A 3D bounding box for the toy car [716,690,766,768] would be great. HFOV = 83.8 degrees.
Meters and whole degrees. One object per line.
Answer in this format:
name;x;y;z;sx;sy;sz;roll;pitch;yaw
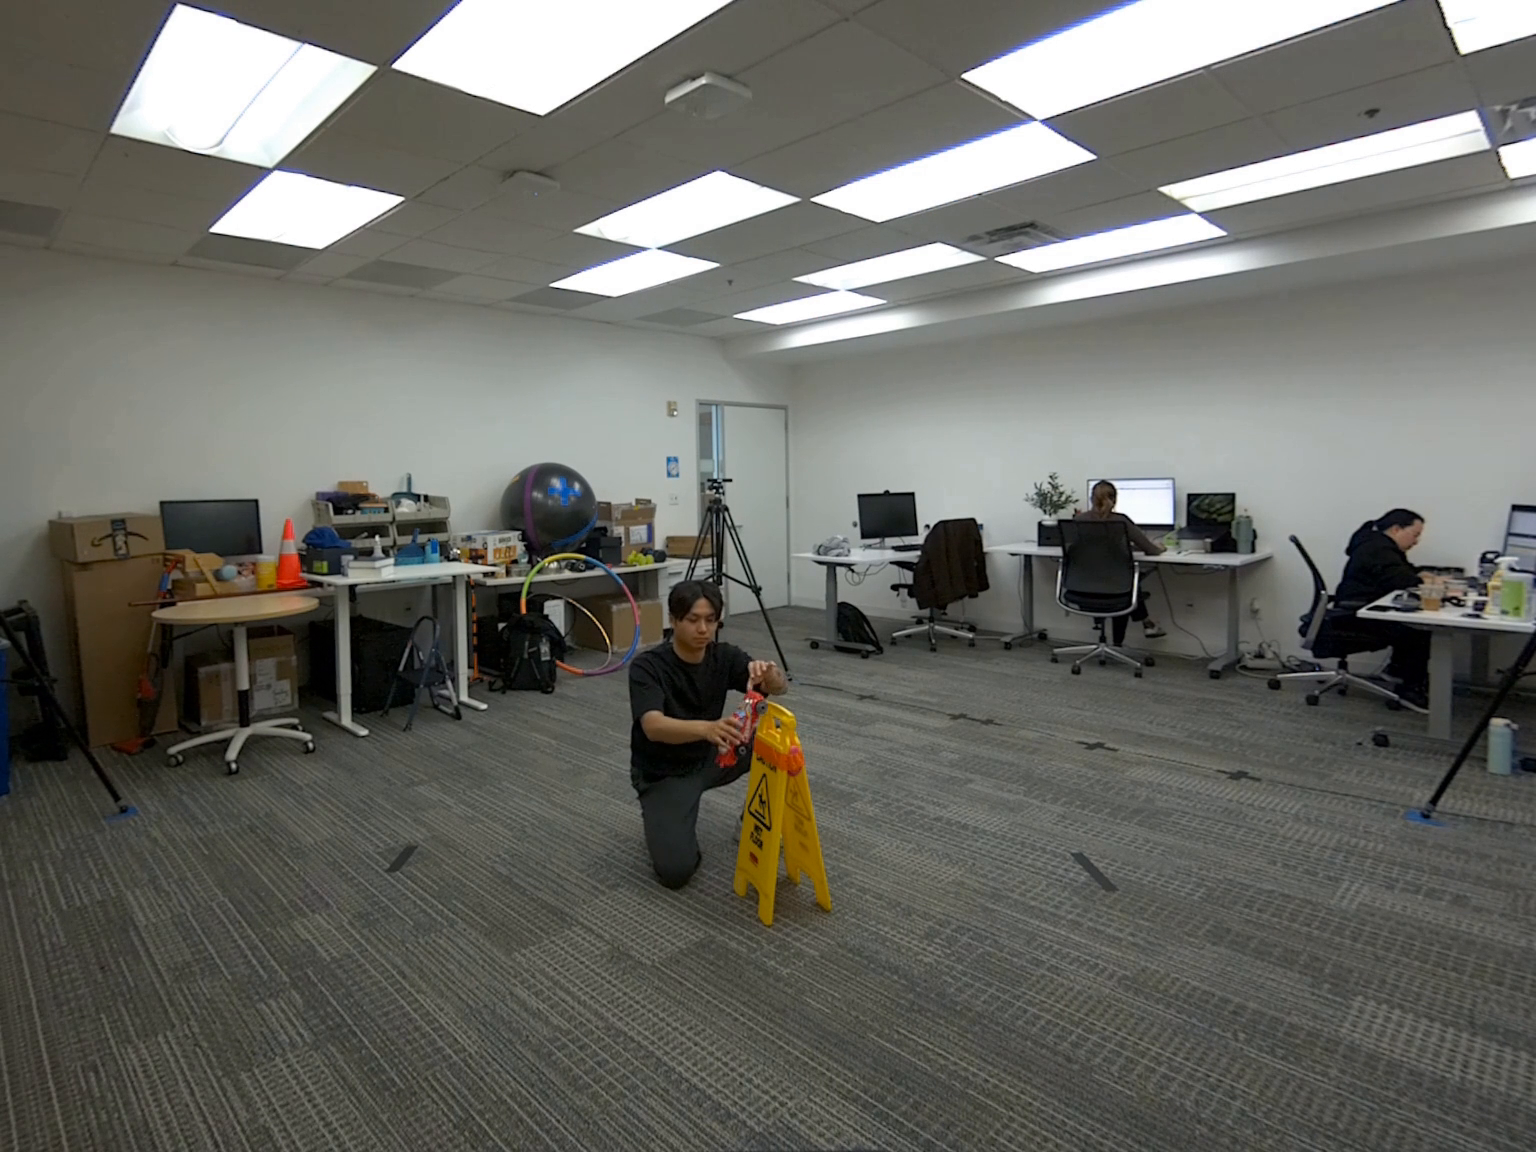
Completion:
toy car;-0.085;0.494;2.710;0.081;0.255;0.133;38;-13;-17
